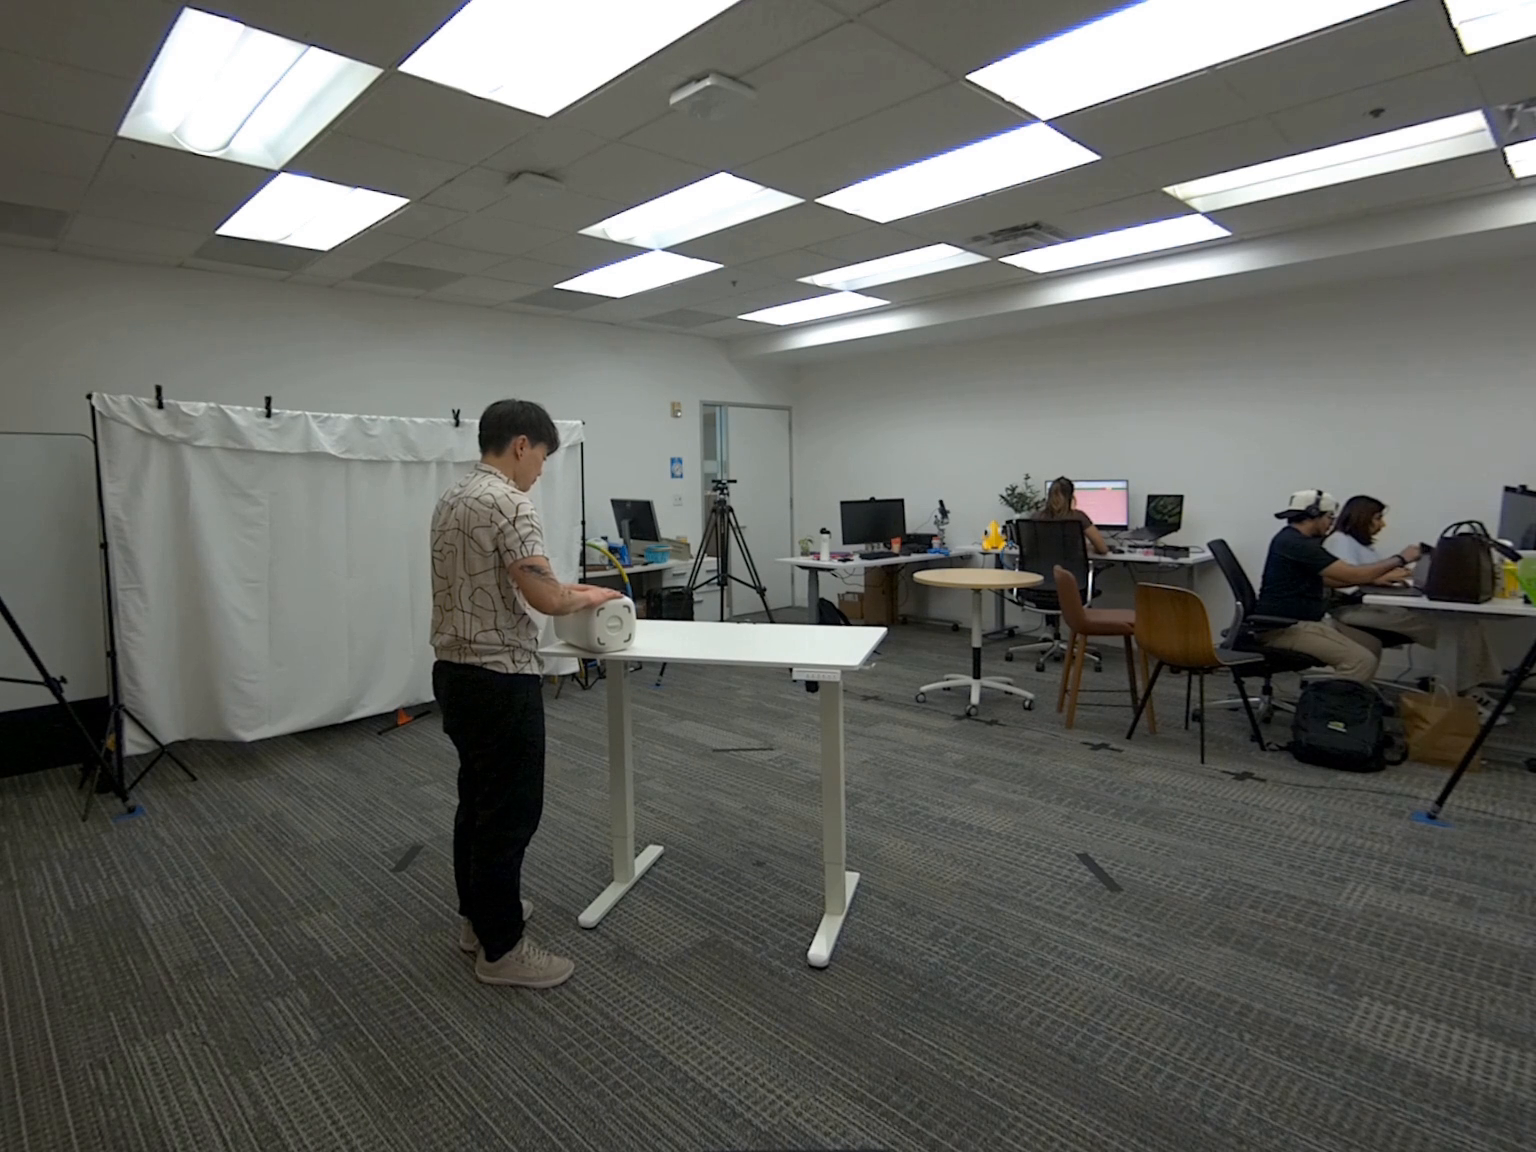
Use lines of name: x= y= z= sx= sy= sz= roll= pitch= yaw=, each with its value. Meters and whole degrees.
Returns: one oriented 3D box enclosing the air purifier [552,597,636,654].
air purifier: x=-0.543 y=0.135 z=2.695 sx=0.167 sy=0.170 sz=0.273 roll=-4 pitch=7 yaw=-36
